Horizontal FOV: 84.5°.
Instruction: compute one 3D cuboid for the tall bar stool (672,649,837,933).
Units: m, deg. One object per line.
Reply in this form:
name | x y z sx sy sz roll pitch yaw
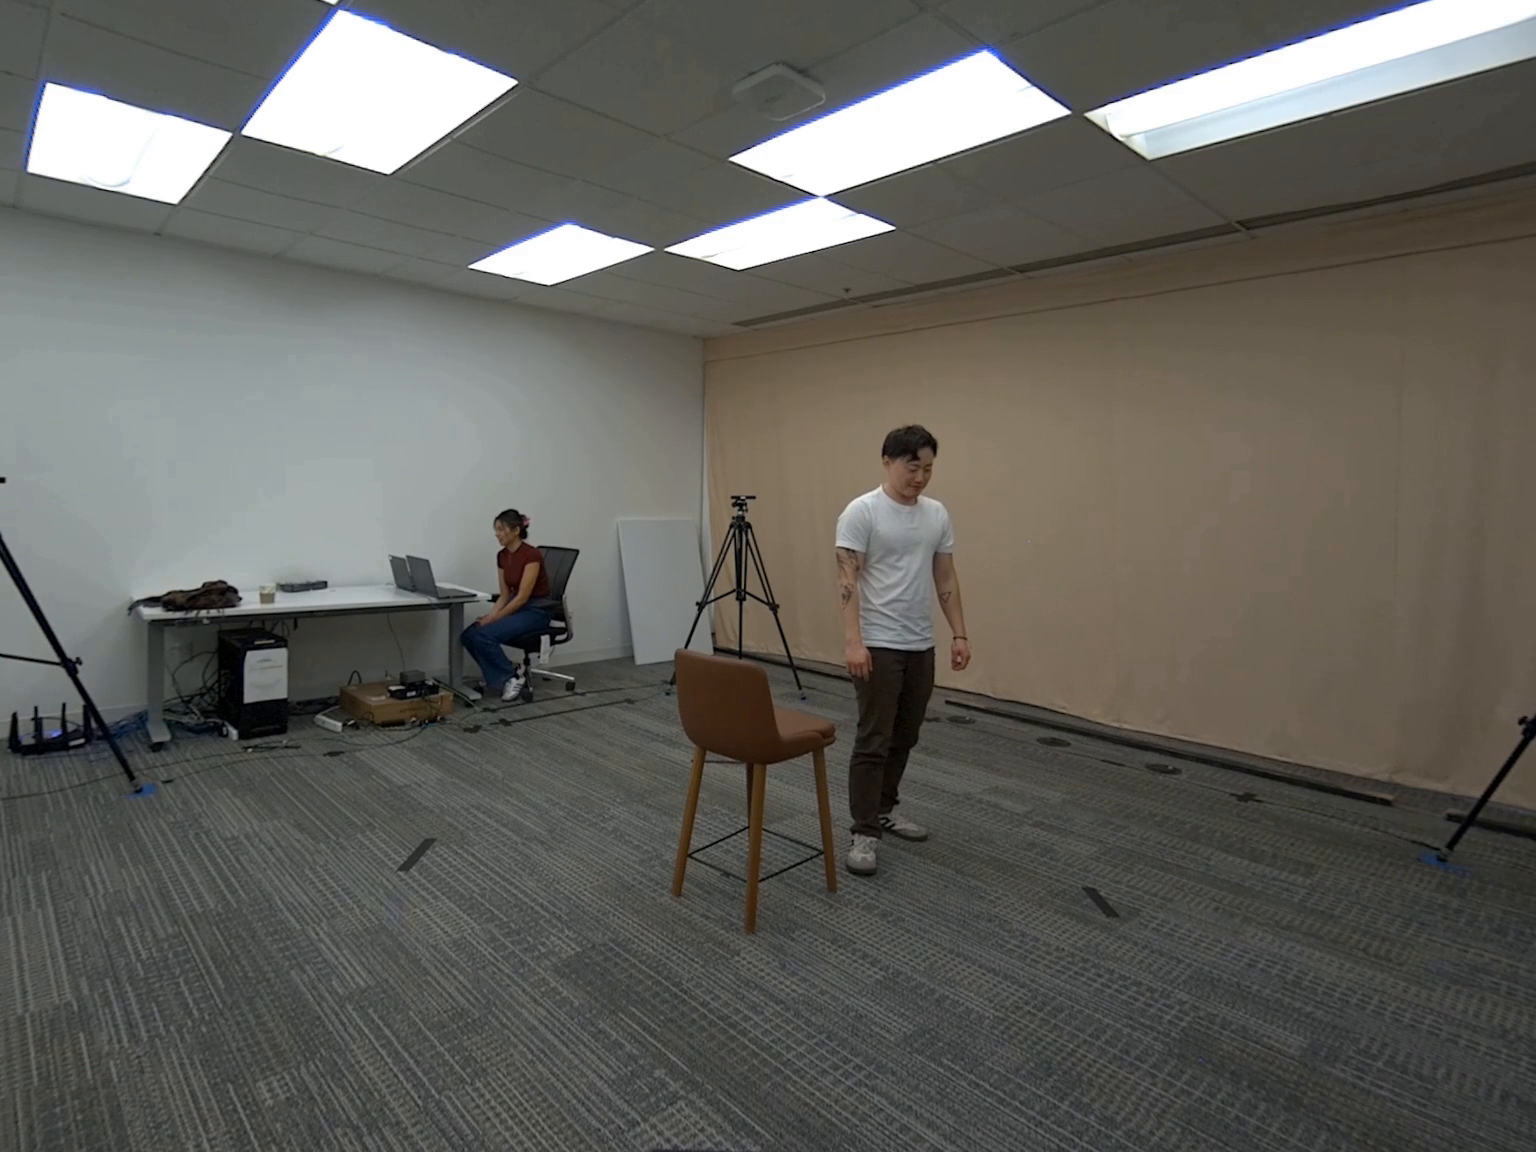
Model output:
tall bar stool | -0.053 0.682 2.940 0.468 0.886 0.457 4 6 42
